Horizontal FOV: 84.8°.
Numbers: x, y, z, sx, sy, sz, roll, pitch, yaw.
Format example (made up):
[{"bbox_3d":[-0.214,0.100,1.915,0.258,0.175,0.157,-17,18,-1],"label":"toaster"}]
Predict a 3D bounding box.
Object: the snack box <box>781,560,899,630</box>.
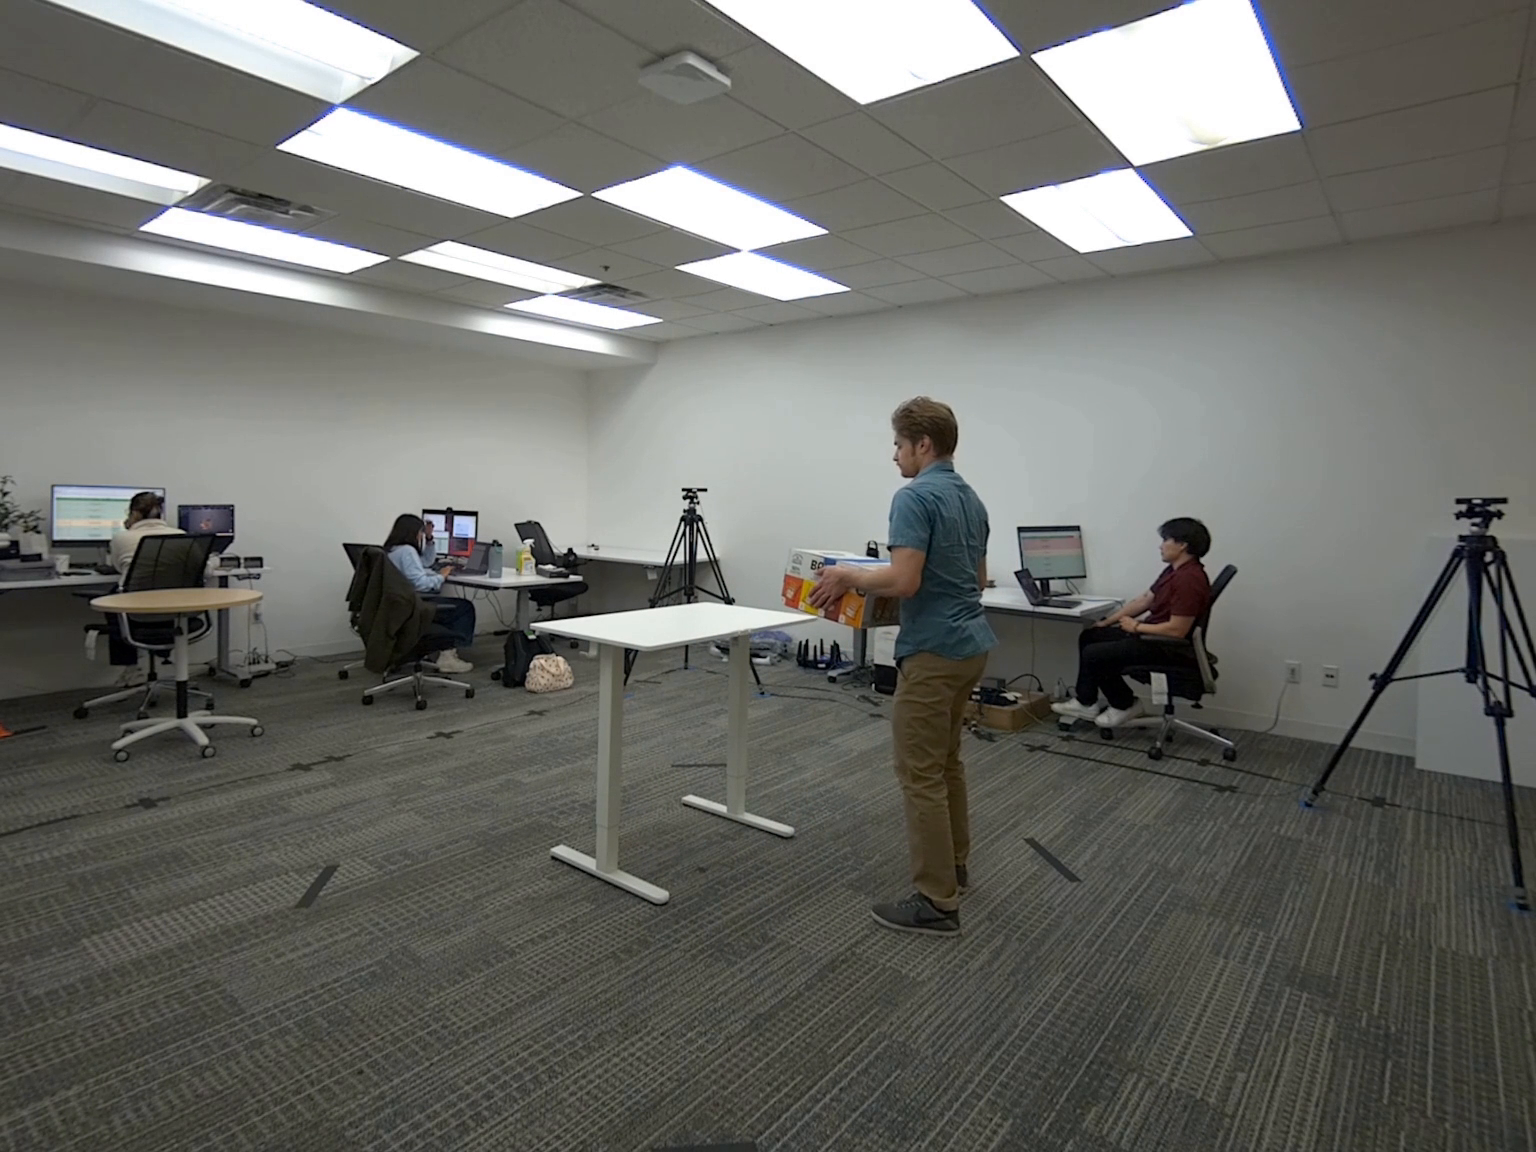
[{"bbox_3d":[0.301,0.040,3.070,0.353,0.204,0.392,17,9,37],"label":"snack box"}]
